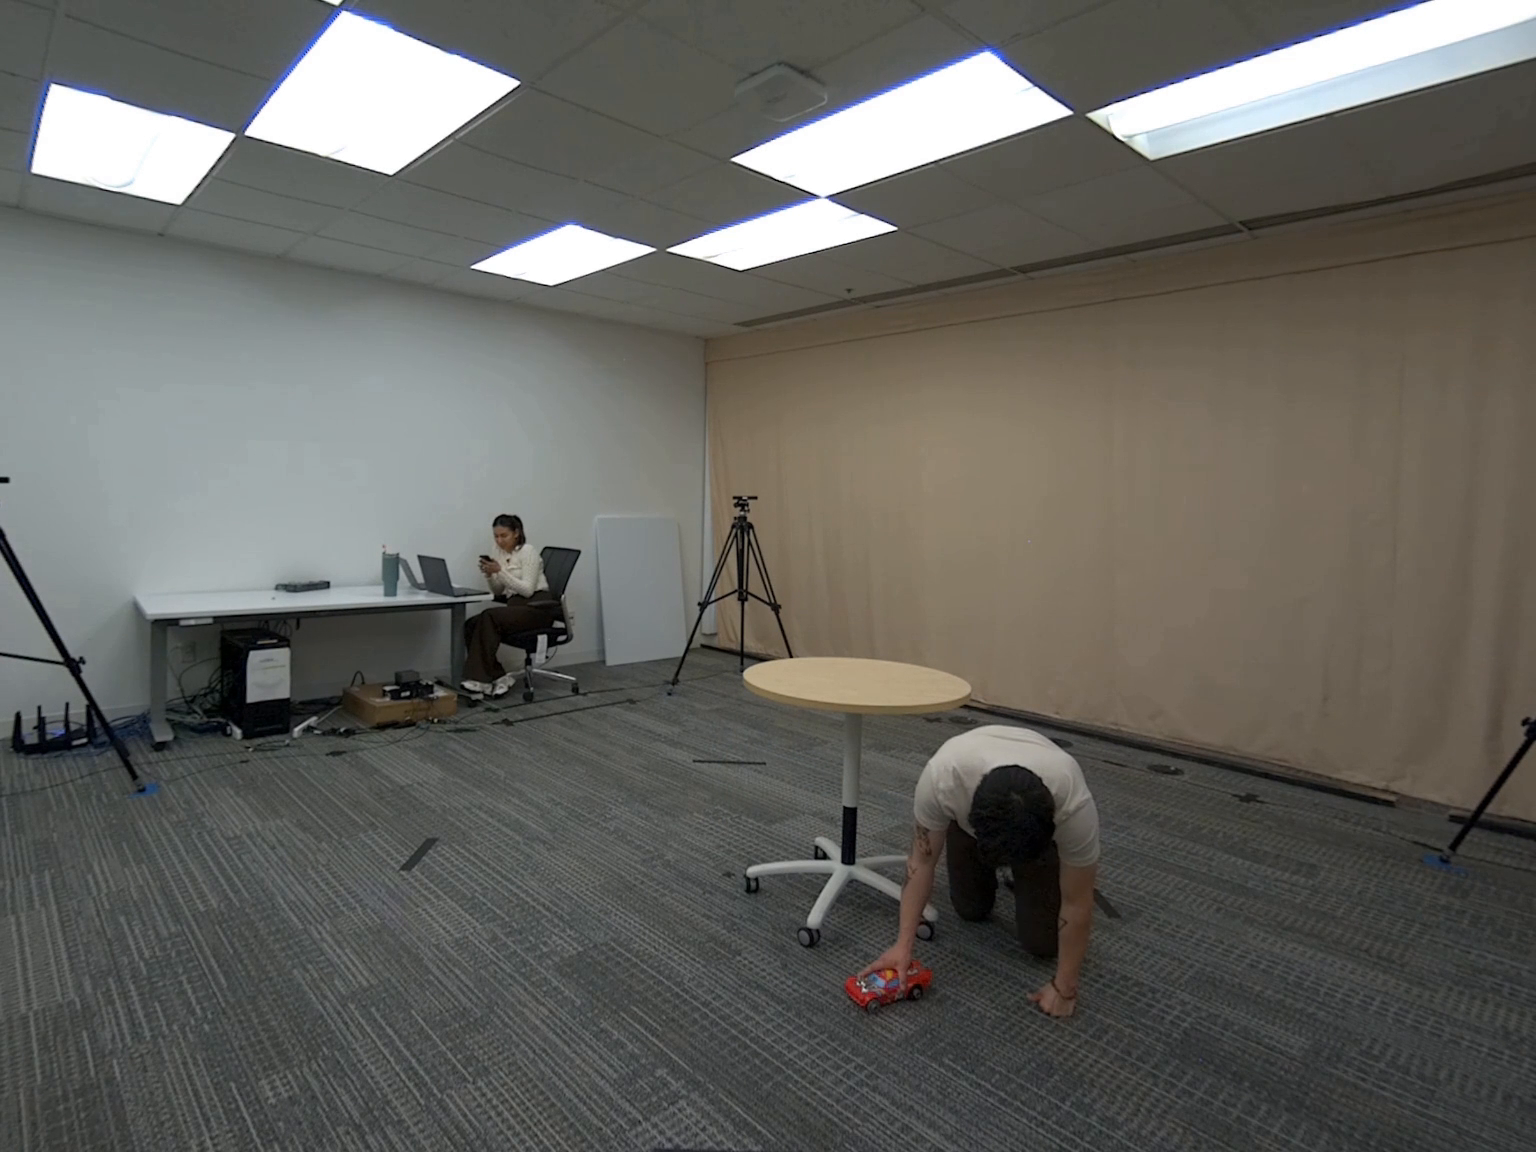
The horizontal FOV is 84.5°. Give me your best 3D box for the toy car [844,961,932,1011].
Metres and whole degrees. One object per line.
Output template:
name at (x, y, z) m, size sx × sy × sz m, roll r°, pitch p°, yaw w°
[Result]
toy car at (0.341, 1.153, 2.371) m, size 0.251 × 0.082 × 0.133 m, roll -13°, pitch 11°, yaw -25°
